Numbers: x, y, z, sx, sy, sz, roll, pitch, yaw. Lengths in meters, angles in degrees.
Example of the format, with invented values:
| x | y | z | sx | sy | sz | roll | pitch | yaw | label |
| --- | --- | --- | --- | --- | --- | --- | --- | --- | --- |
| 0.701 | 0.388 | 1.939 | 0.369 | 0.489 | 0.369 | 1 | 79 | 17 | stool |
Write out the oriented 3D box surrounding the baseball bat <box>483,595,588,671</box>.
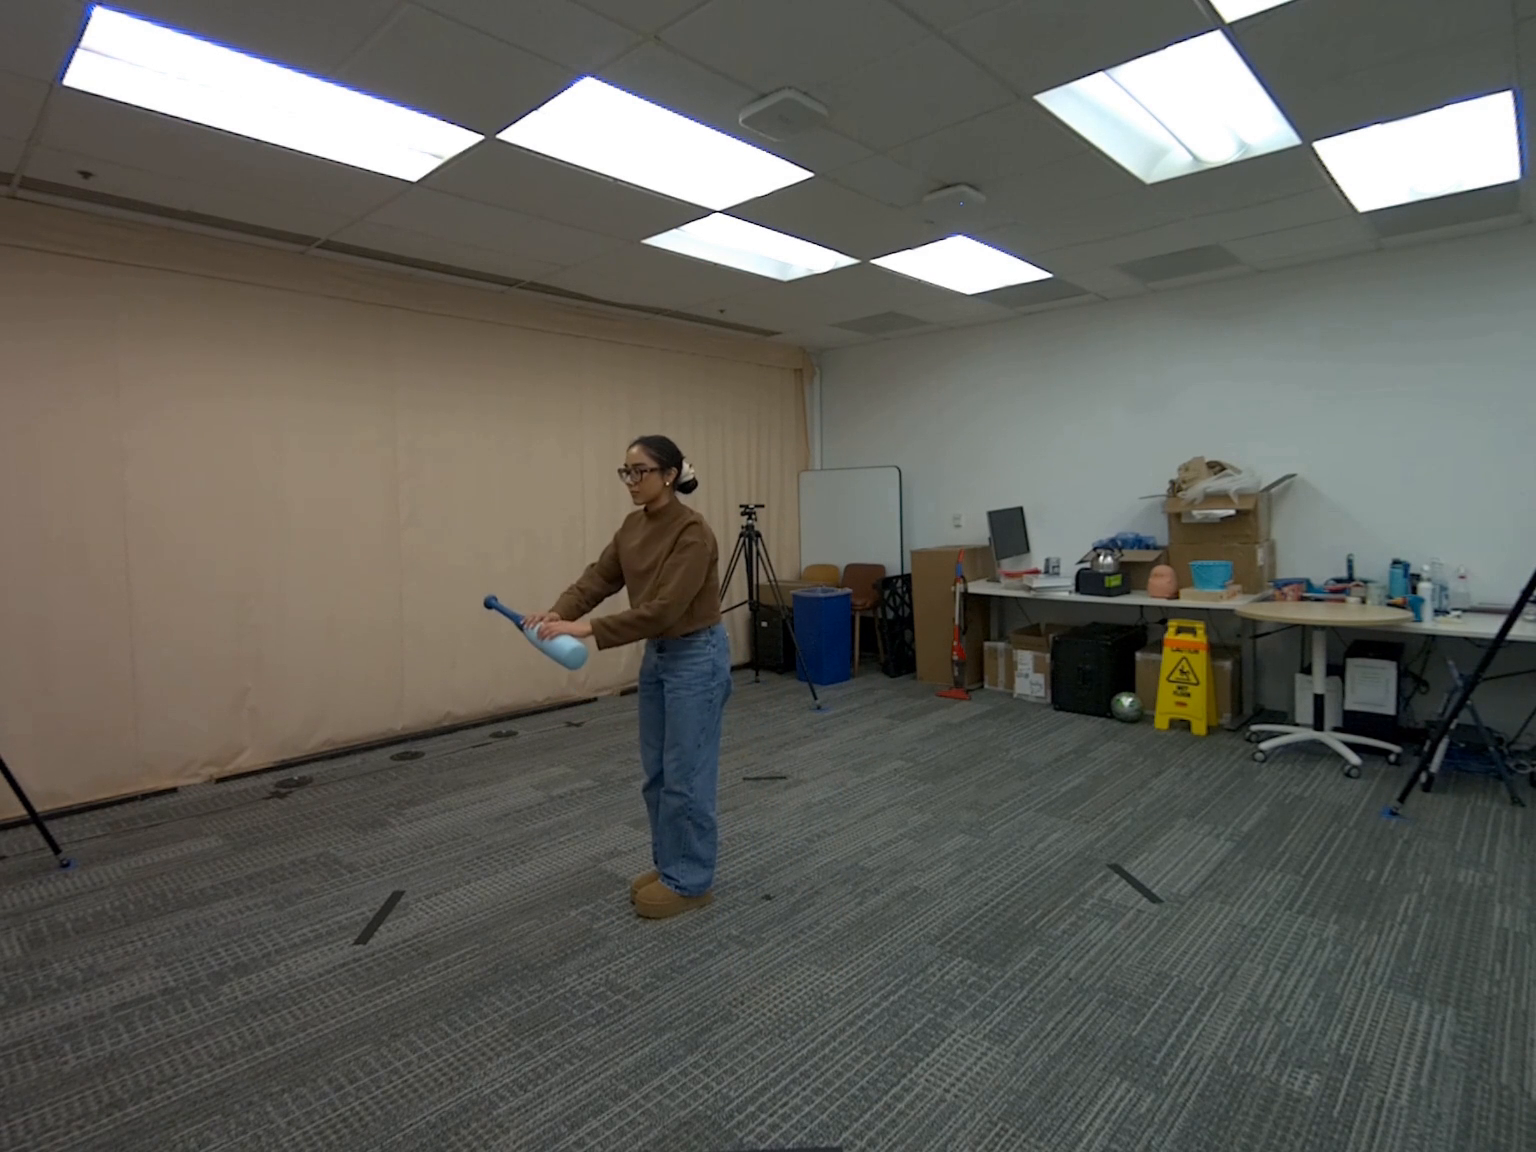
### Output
| x | y | z | sx | sy | sz | roll | pitch | yaw | label |
| --- | --- | --- | --- | --- | --- | --- | --- | --- | --- |
| -0.763 | 0.164 | 2.670 | 0.563 | 0.088 | 0.086 | 23 | 19 | 41 | baseball bat |
